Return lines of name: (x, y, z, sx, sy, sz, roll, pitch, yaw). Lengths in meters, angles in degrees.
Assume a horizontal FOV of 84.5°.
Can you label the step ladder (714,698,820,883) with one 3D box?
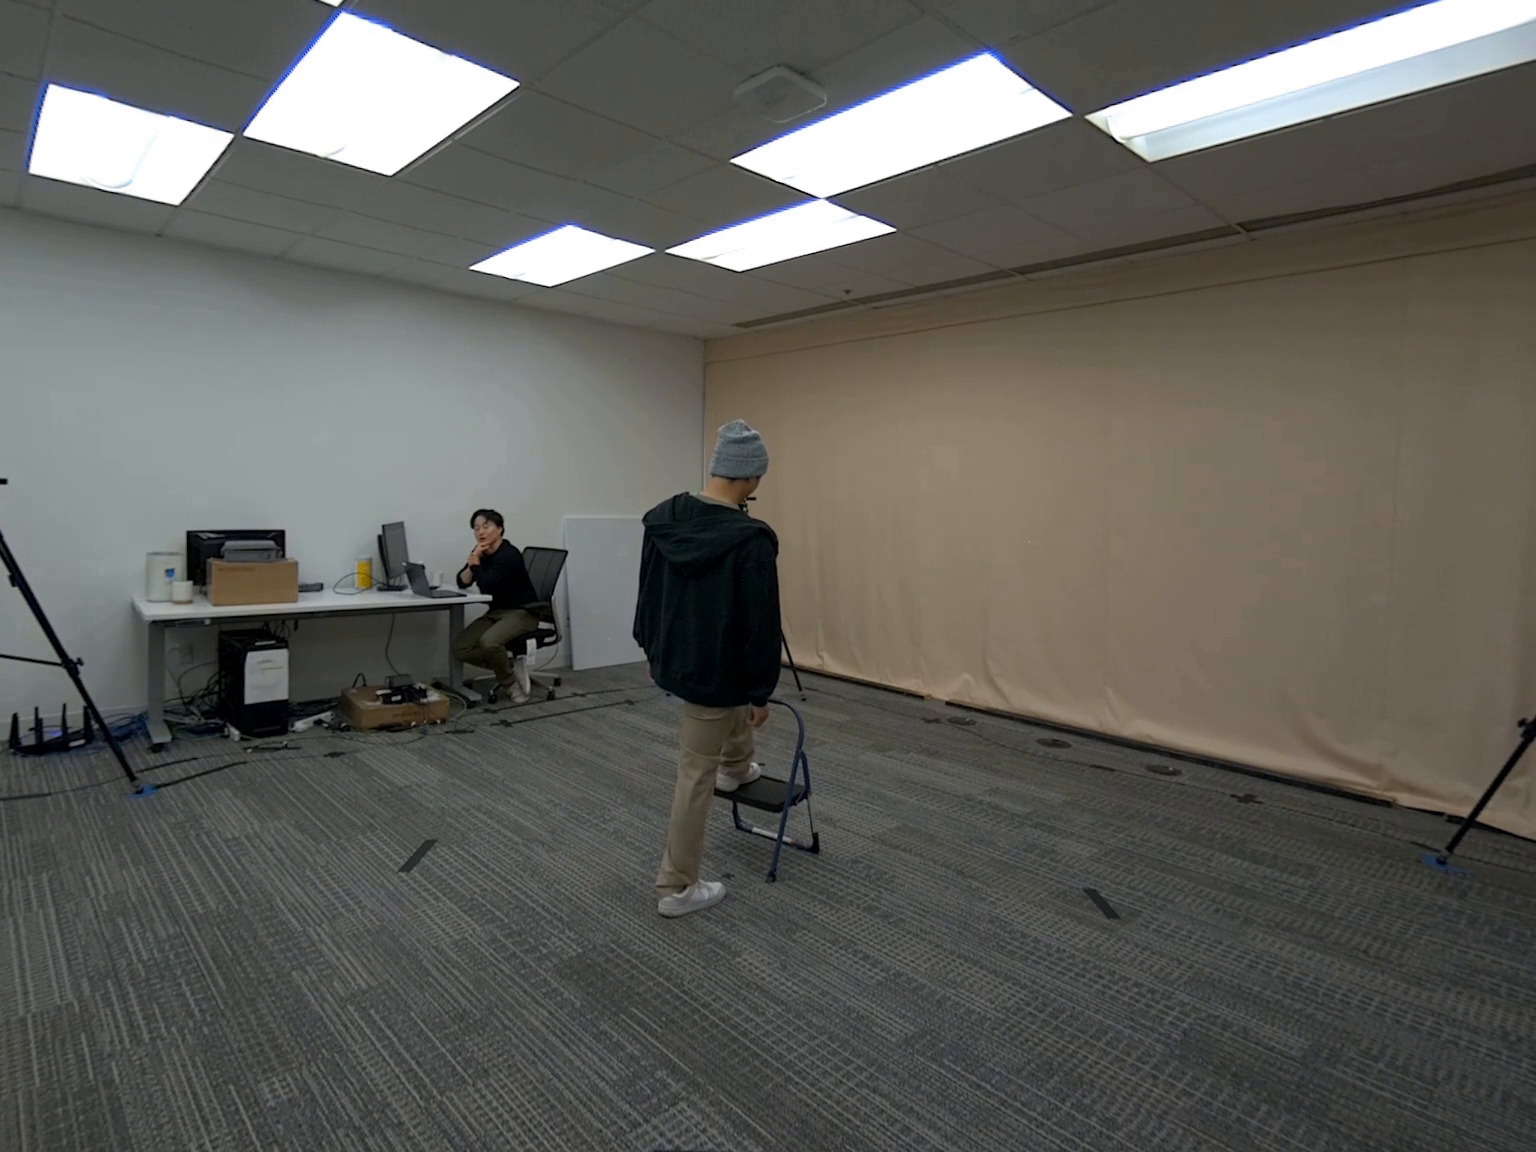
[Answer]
step ladder: (-0.054, 0.790, 3.306, 0.441, 0.605, 0.341, 4, 4, 37)
